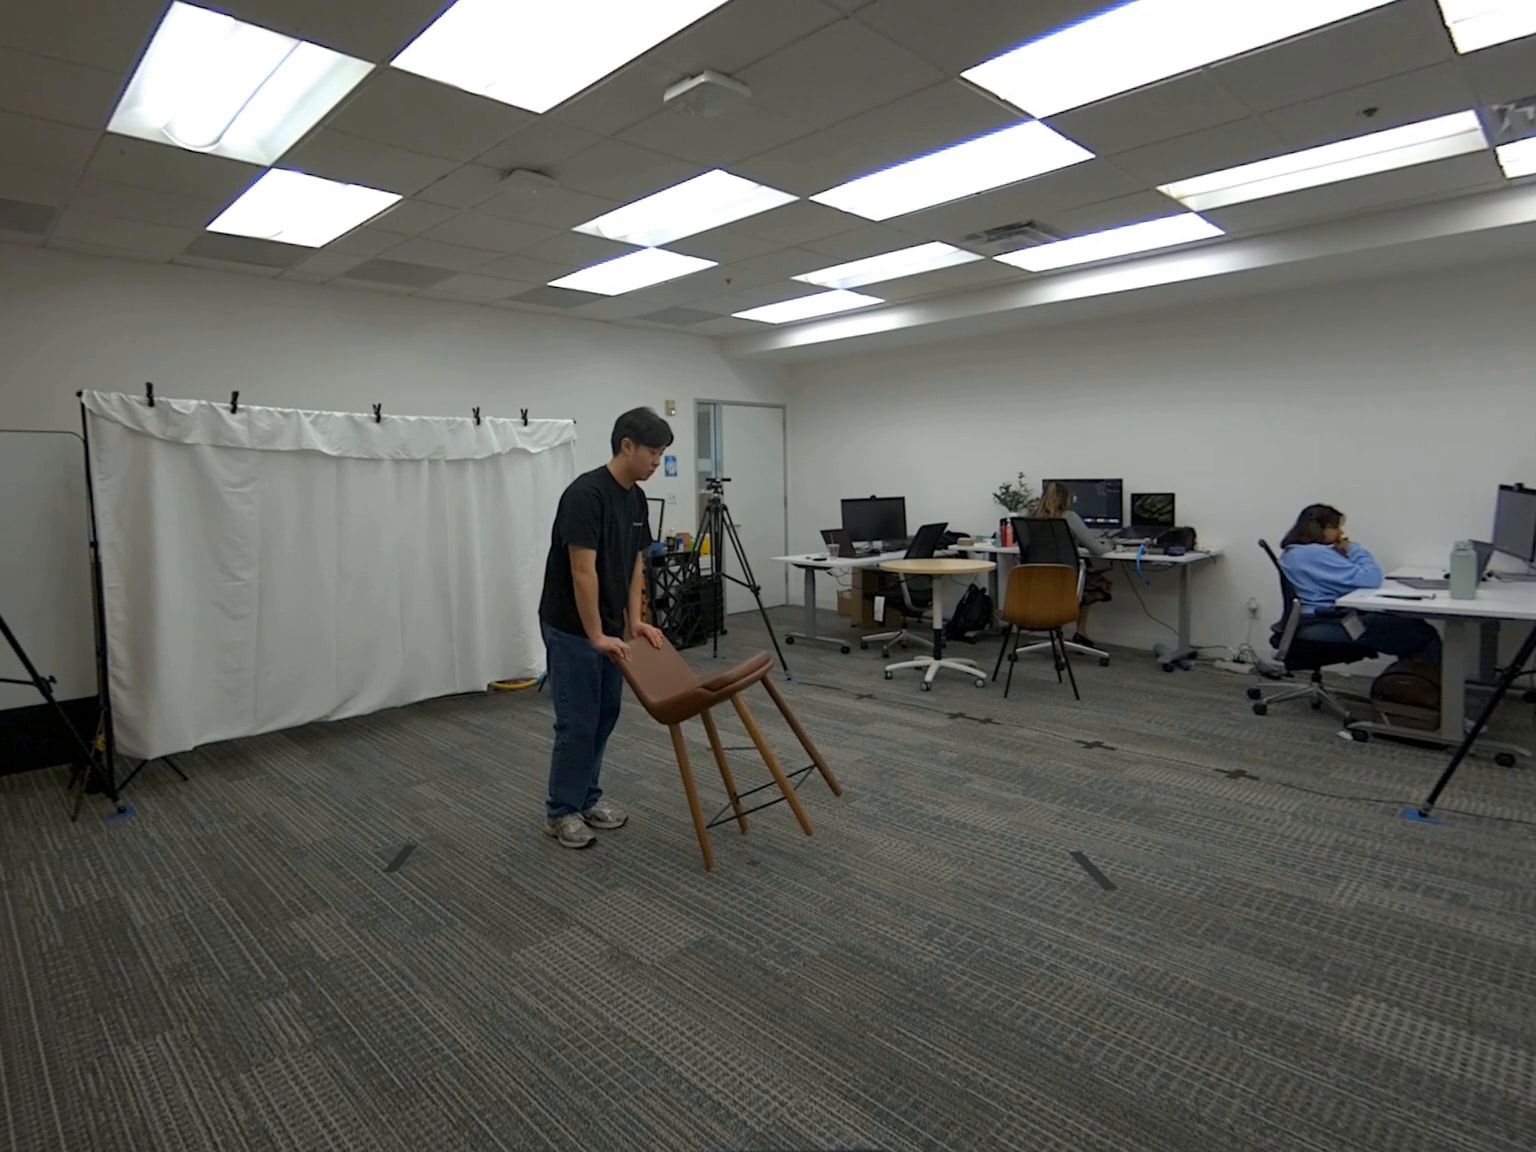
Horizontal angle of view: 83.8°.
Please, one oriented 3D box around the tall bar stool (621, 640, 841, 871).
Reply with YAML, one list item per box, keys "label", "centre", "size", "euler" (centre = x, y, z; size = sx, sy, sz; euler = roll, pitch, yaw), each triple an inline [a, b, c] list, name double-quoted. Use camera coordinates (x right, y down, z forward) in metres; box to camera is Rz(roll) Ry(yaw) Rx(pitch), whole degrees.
- label: "tall bar stool"
  centre: [-0.159, 0.553, 3.189]
  size: [0.471, 0.898, 0.449]
  euler: [-30, -7, 22]
